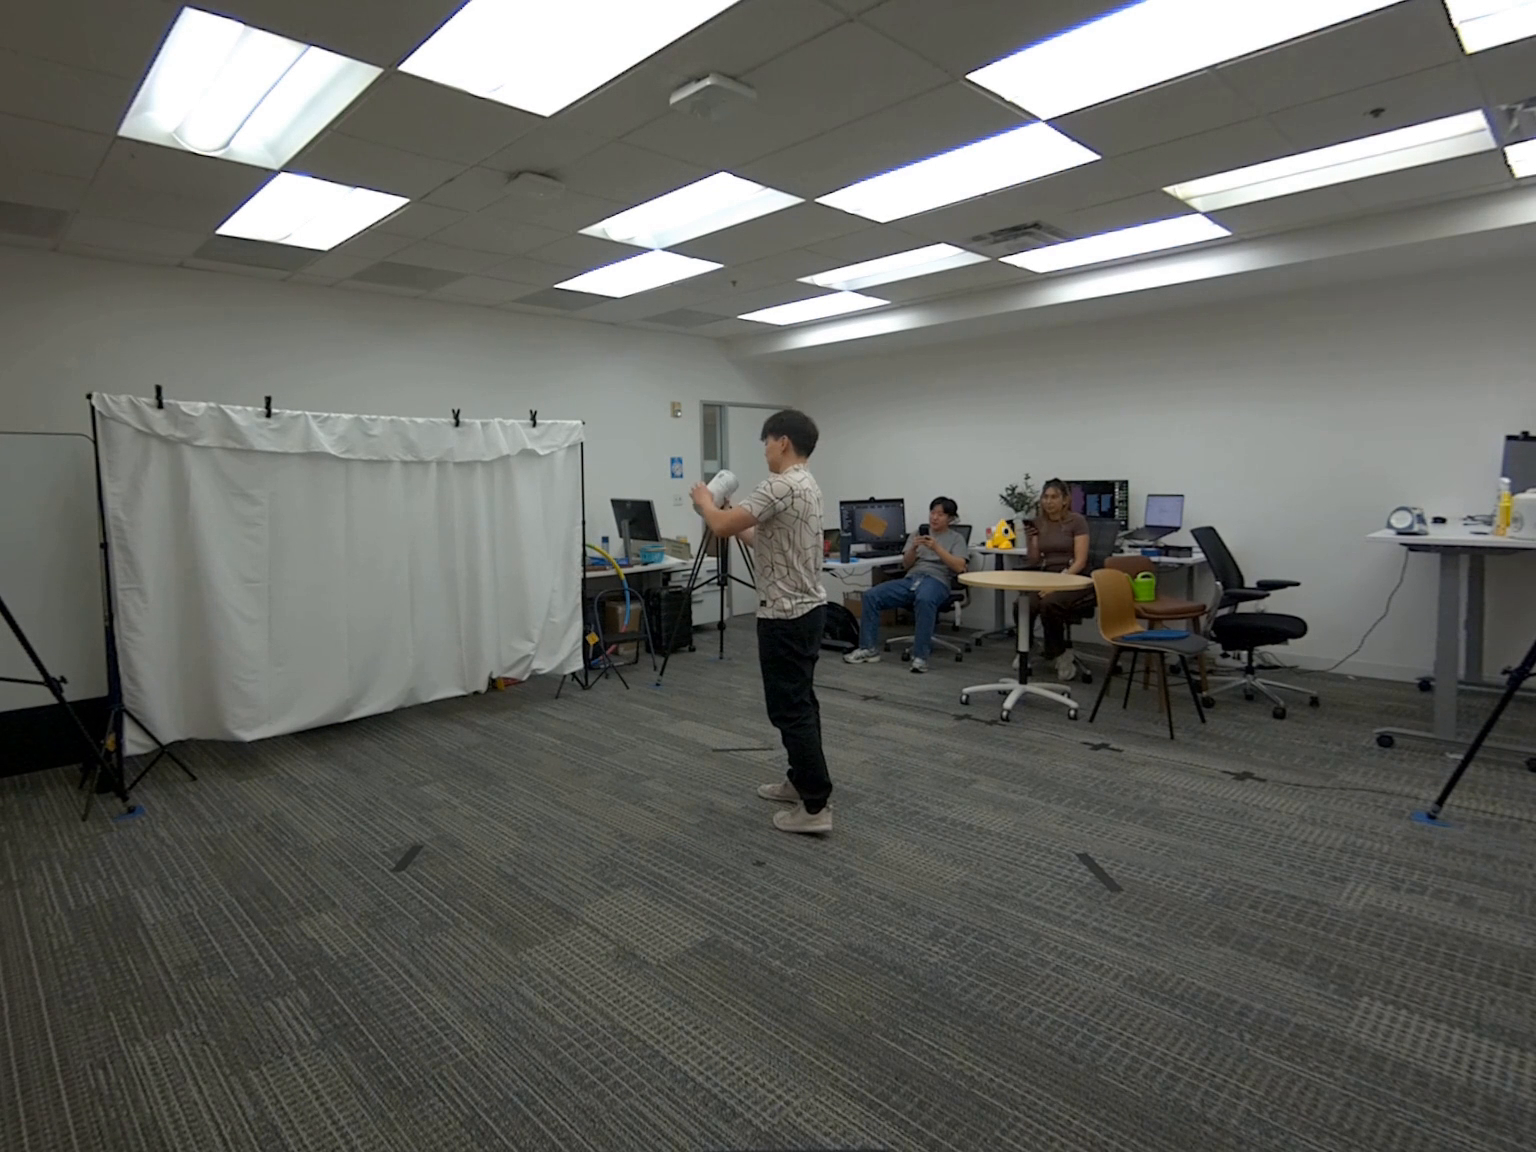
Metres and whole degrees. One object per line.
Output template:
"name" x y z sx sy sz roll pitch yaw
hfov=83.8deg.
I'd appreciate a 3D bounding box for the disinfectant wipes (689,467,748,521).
"disinfectant wipes" -0.218 -0.363 3.779 0.121 0.114 0.218 3 48 45
